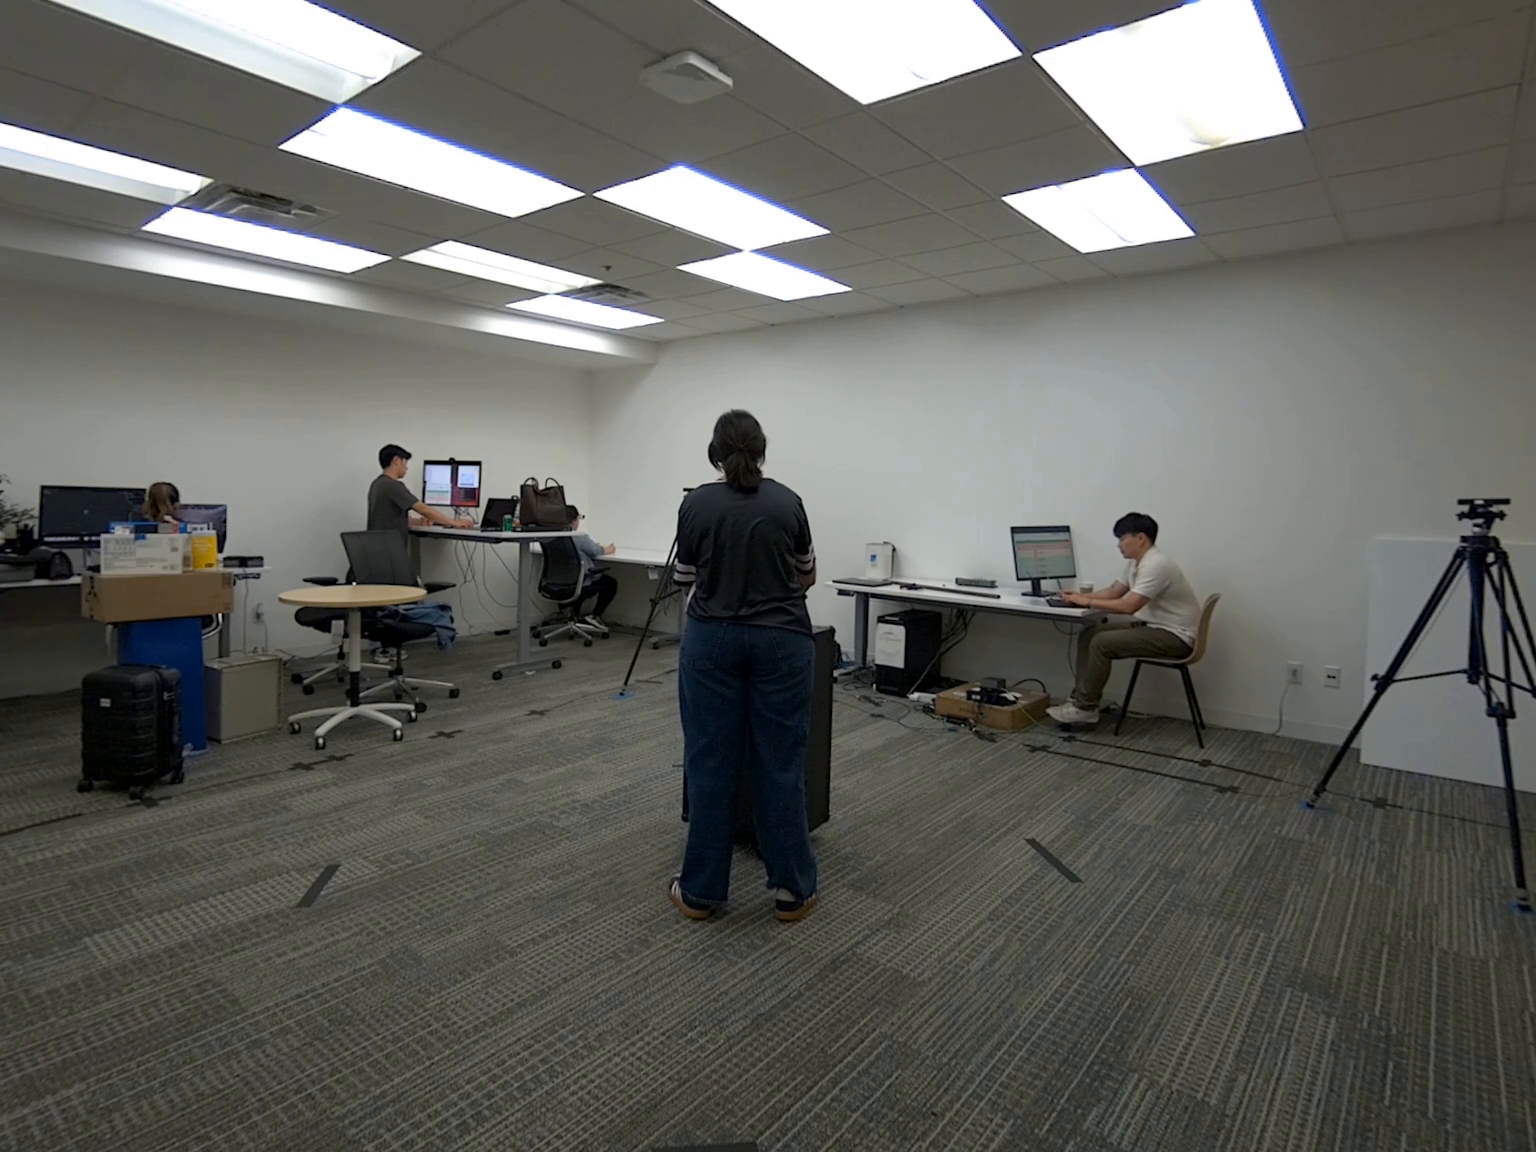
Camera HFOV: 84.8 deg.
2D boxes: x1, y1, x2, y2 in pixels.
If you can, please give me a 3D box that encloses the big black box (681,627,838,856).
[{"bbox_3d":[-0.053,0.621,3.391,0.539,0.867,0.375,3,3,30],"label":"big black box"}]
